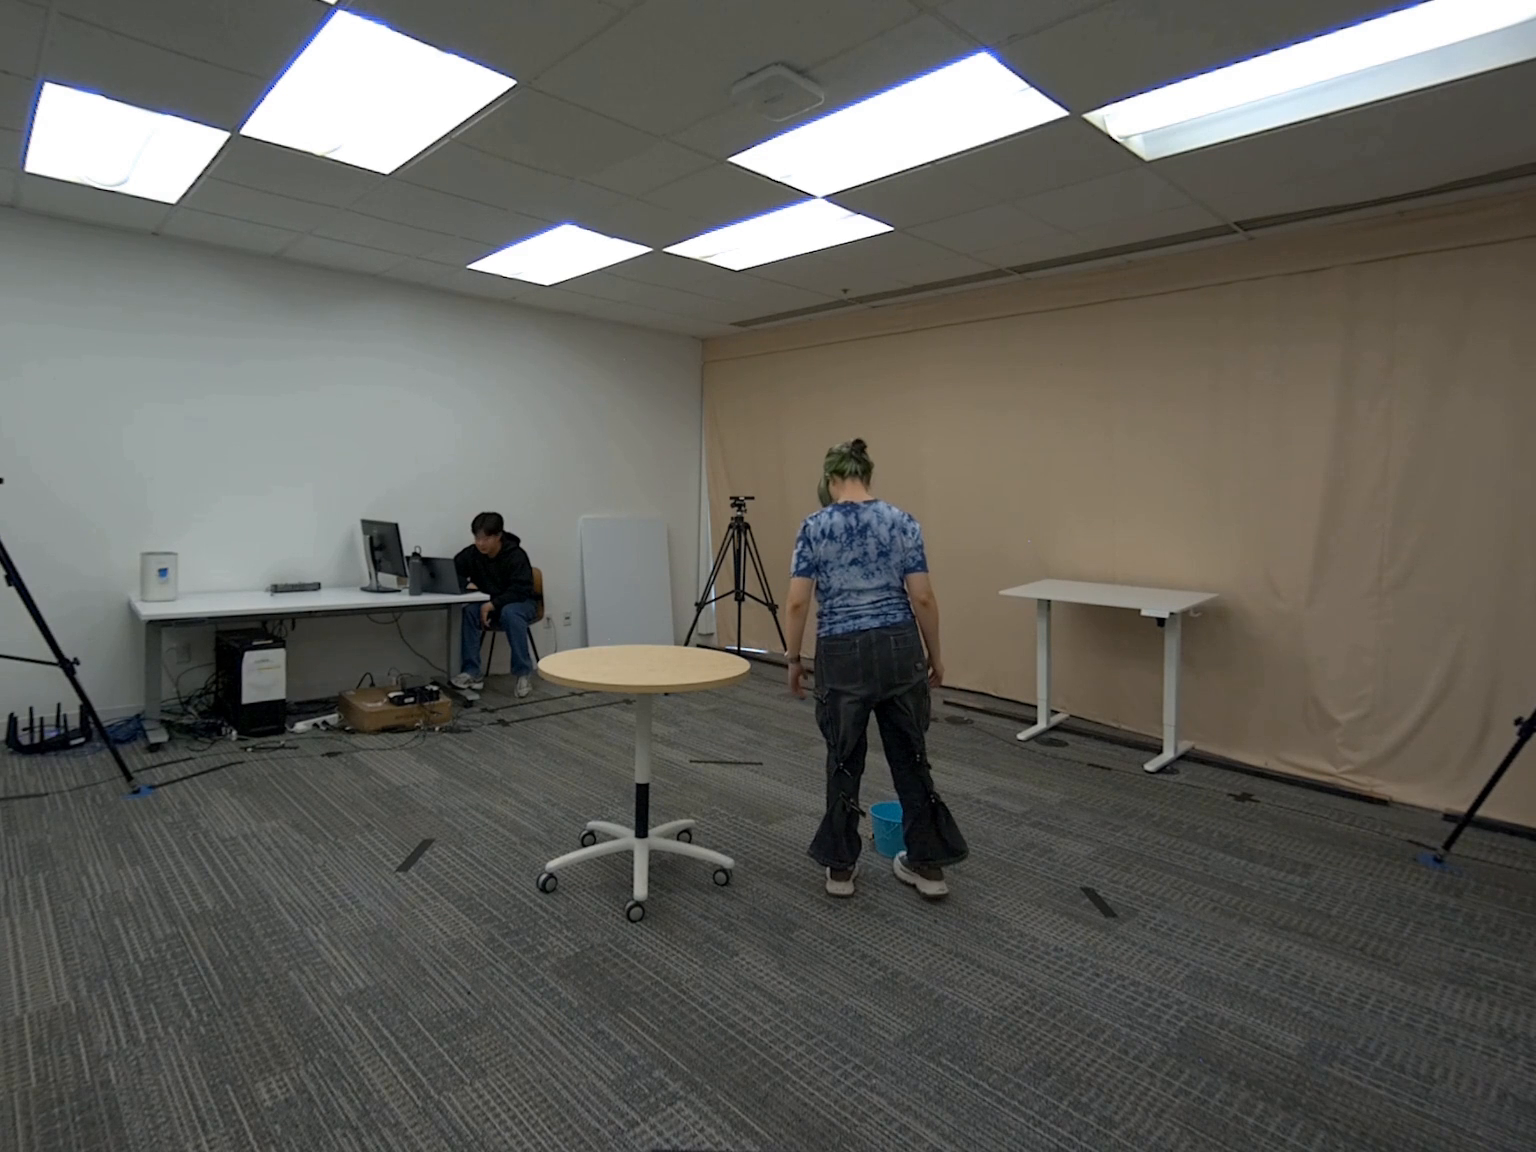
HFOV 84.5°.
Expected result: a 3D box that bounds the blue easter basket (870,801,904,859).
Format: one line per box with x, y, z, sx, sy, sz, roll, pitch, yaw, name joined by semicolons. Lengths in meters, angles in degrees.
0.512;1.018;3.386;0.243;0.155;0.244;1;5;-1;blue easter basket
